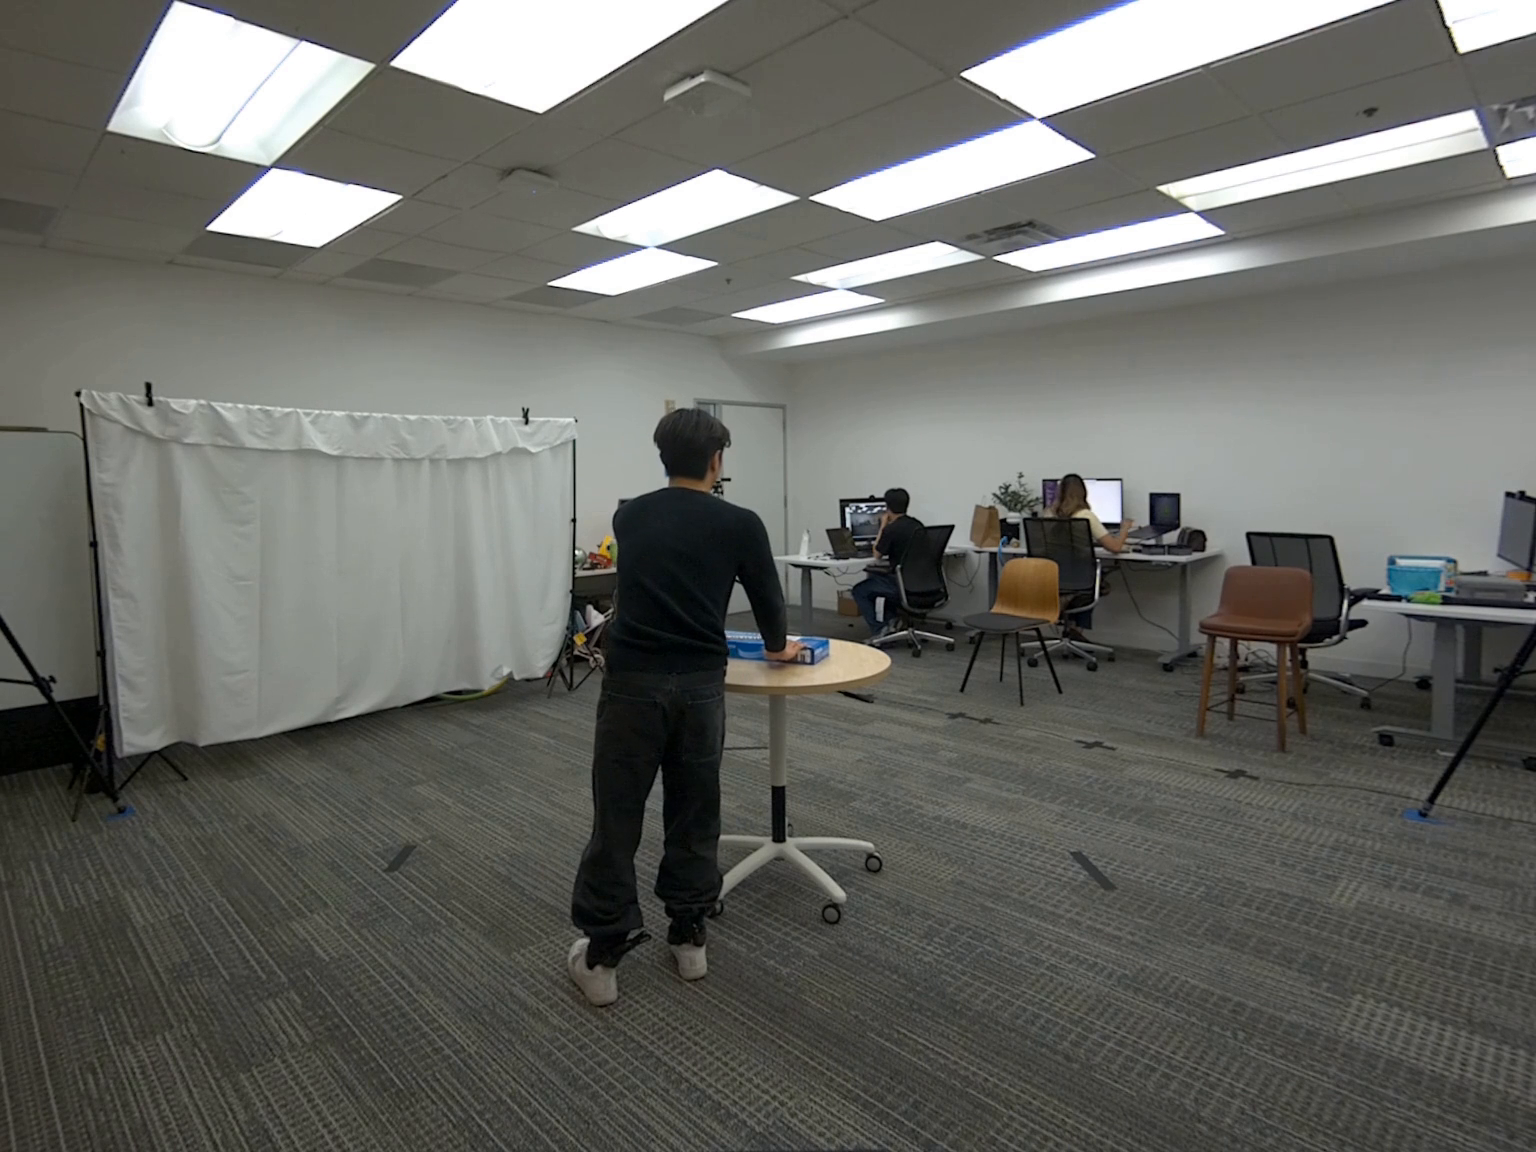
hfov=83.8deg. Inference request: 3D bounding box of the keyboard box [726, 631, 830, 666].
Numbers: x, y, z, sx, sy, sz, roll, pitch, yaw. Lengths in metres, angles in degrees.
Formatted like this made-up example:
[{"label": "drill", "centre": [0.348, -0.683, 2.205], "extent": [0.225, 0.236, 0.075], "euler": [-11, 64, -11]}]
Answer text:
[{"label": "keyboard box", "centre": [-0.026, 0.246, 2.960], "extent": [0.446, 0.059, 0.173], "euler": [3, 7, 23]}]
